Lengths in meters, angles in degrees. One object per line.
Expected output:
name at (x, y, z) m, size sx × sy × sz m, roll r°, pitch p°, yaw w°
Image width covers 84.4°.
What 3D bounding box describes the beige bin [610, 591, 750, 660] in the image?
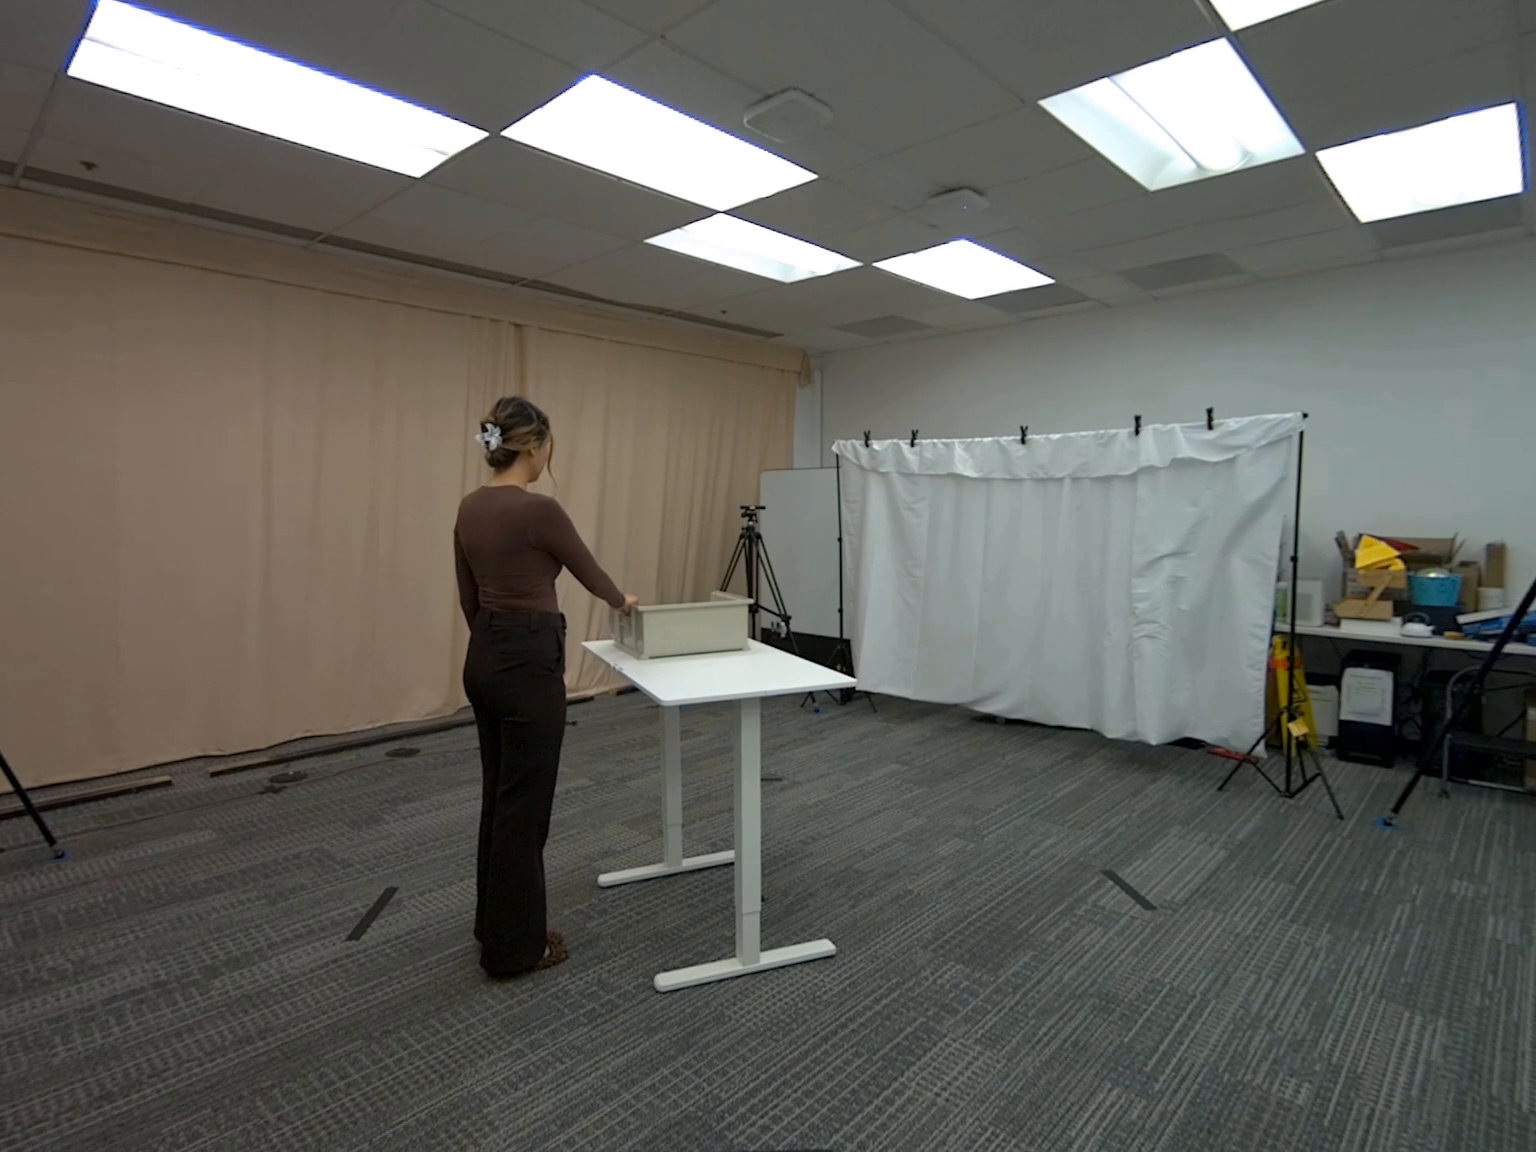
beige bin at (-0.324, 0.169, 3.029) m, size 0.412 × 0.188 × 0.387 m, roll -2°, pitch 6°, yaw -25°
